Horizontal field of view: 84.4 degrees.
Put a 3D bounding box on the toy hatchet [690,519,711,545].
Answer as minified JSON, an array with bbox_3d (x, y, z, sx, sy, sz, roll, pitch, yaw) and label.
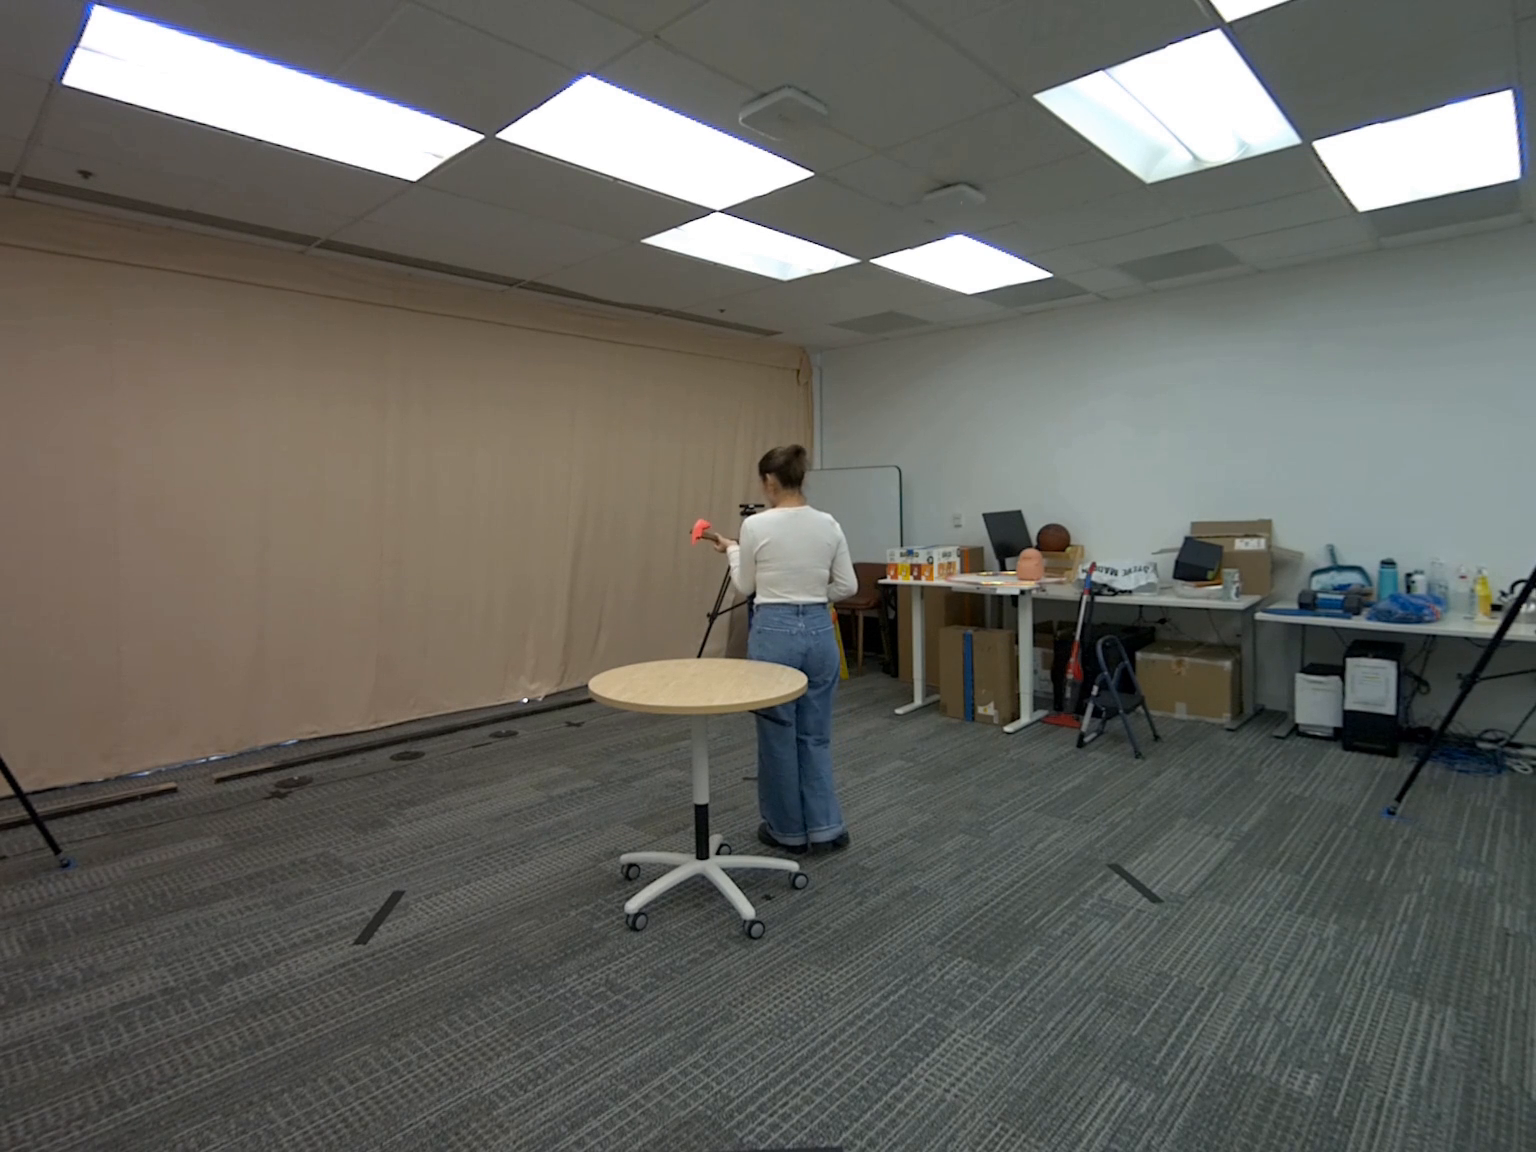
[{"bbox_3d":[-0.191,-0.196,3.654,0.268,0.133,0.029,-3,-27,-6],"label":"toy hatchet"}]
